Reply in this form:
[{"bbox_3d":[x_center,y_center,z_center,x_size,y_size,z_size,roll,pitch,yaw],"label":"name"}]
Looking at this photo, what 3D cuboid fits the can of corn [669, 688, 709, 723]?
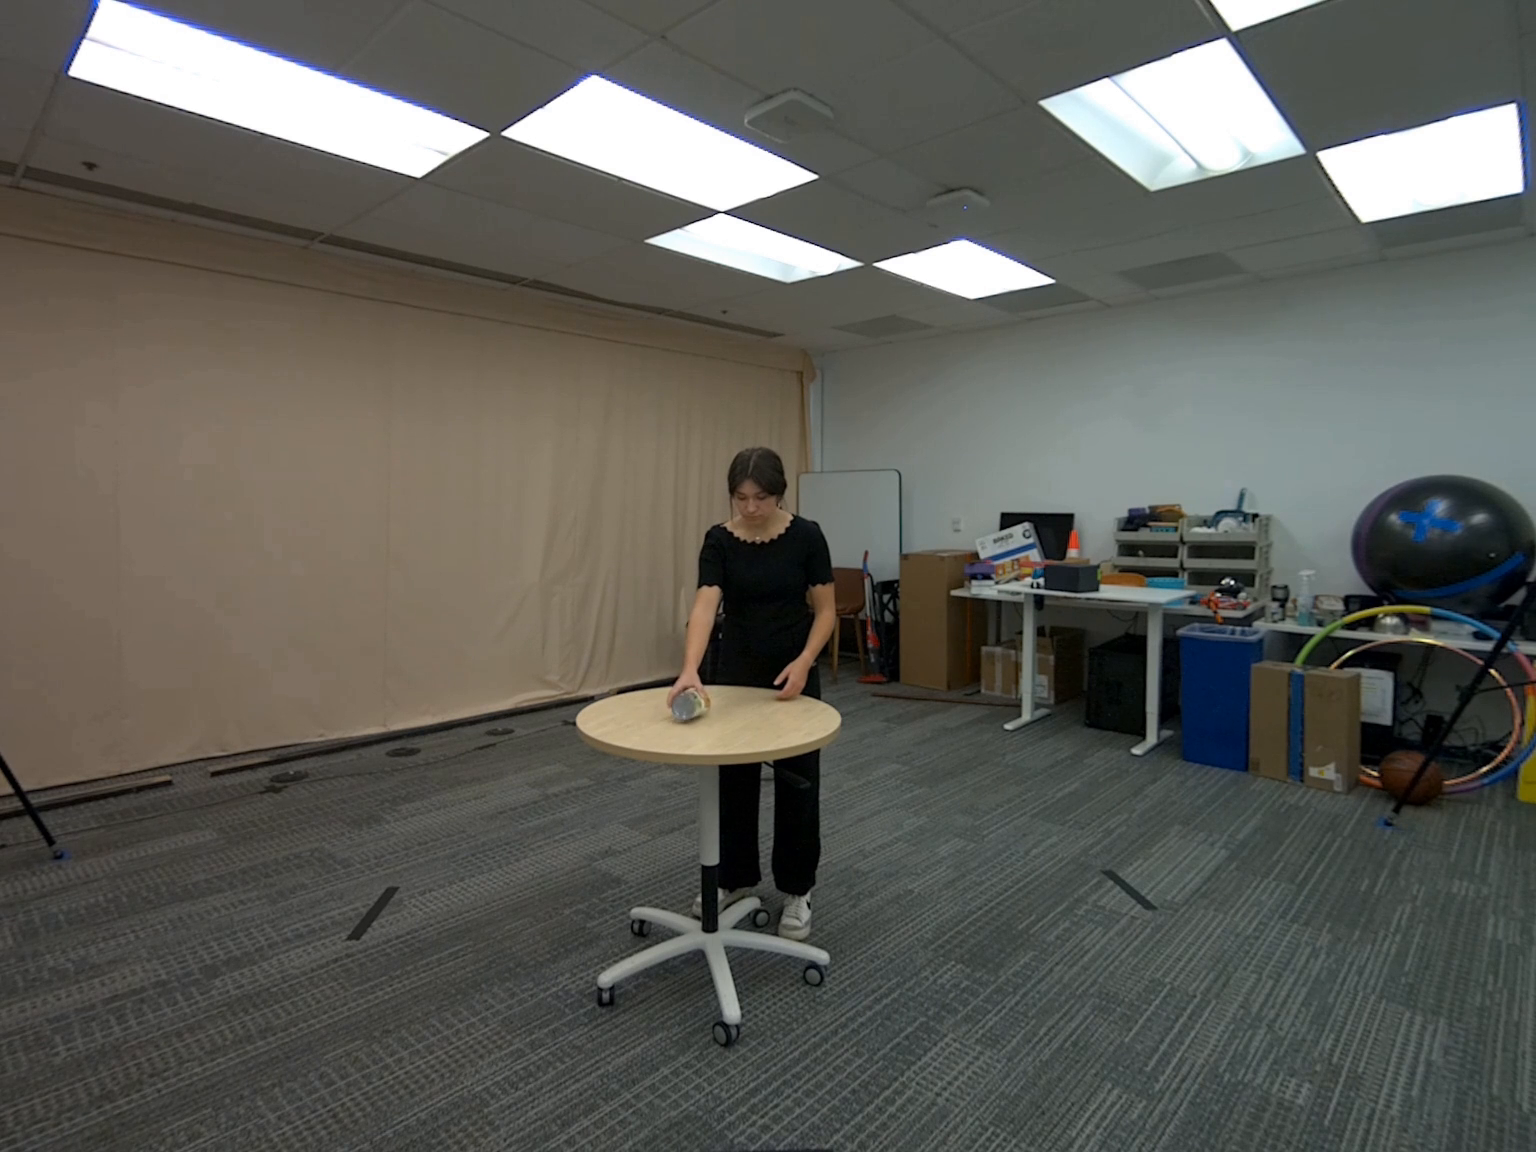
[{"bbox_3d":[-0.223,0.362,2.381,0.075,0.074,0.109,1,-4,9],"label":"can of corn"}]
